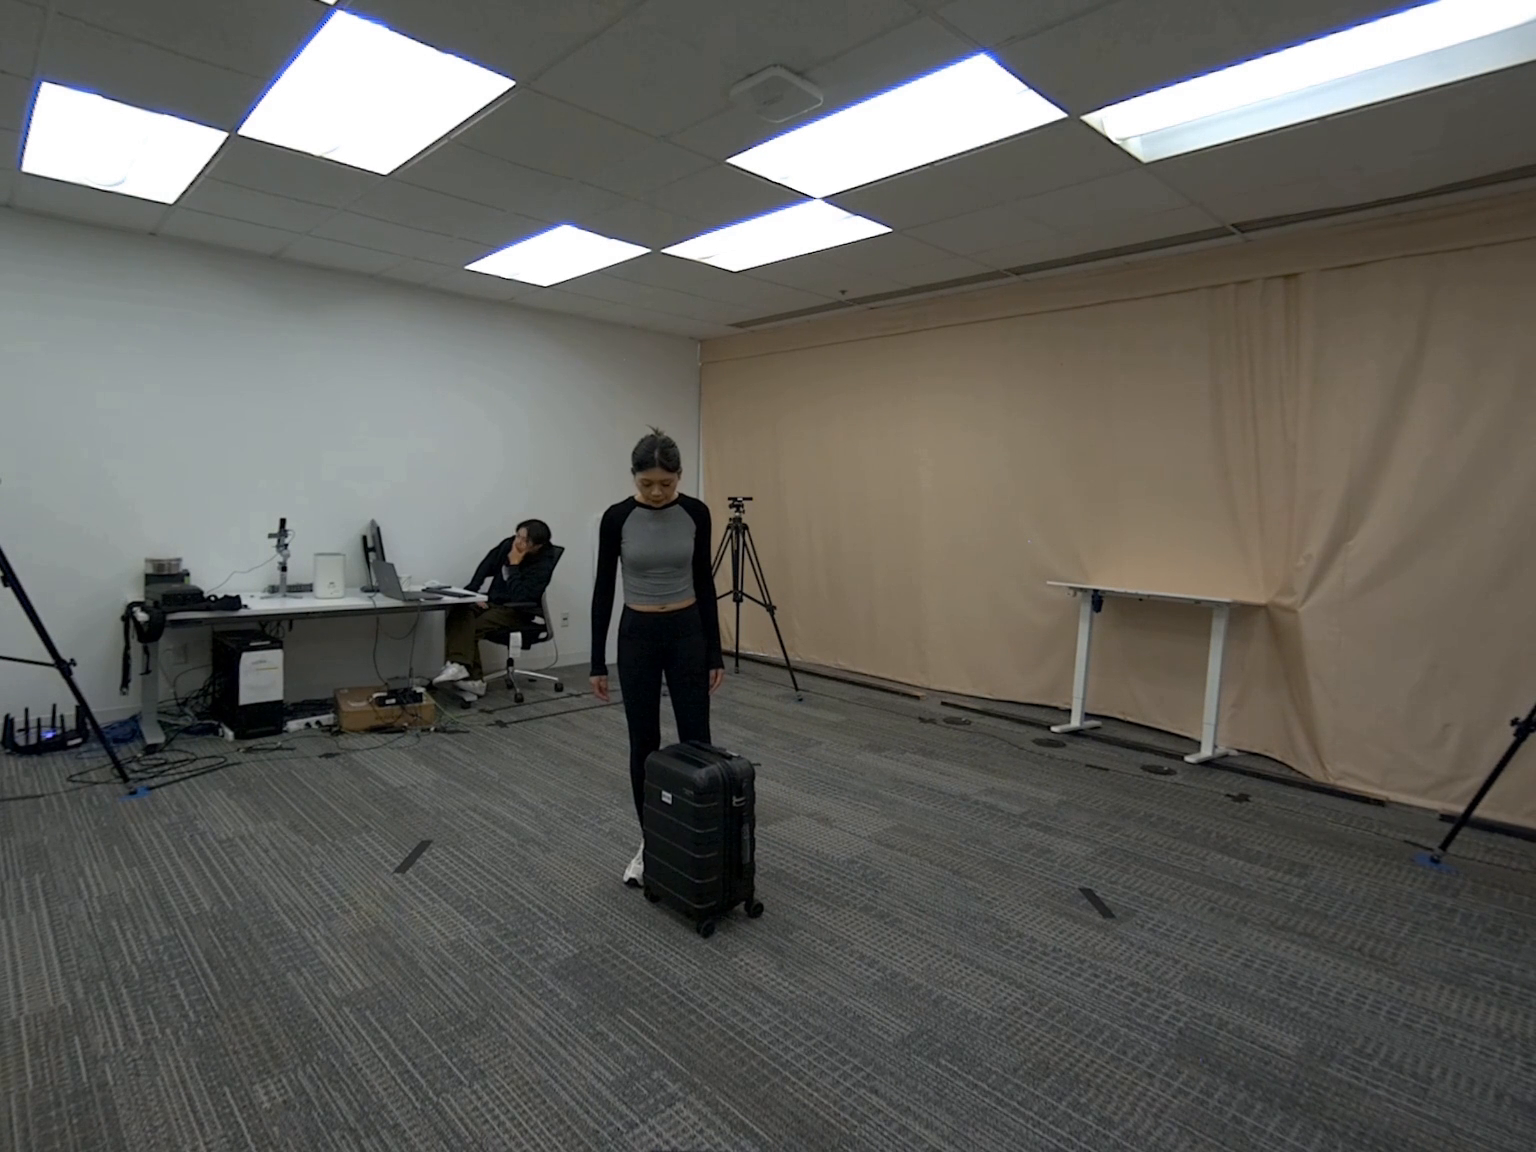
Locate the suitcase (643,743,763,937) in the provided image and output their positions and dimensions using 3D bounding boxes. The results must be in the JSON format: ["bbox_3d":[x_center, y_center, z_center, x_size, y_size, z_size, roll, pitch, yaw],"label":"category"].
[{"bbox_3d":[-0.234,0.856,2.826,0.243,0.547,0.385,-4,6,-42],"label":"suitcase"}]
